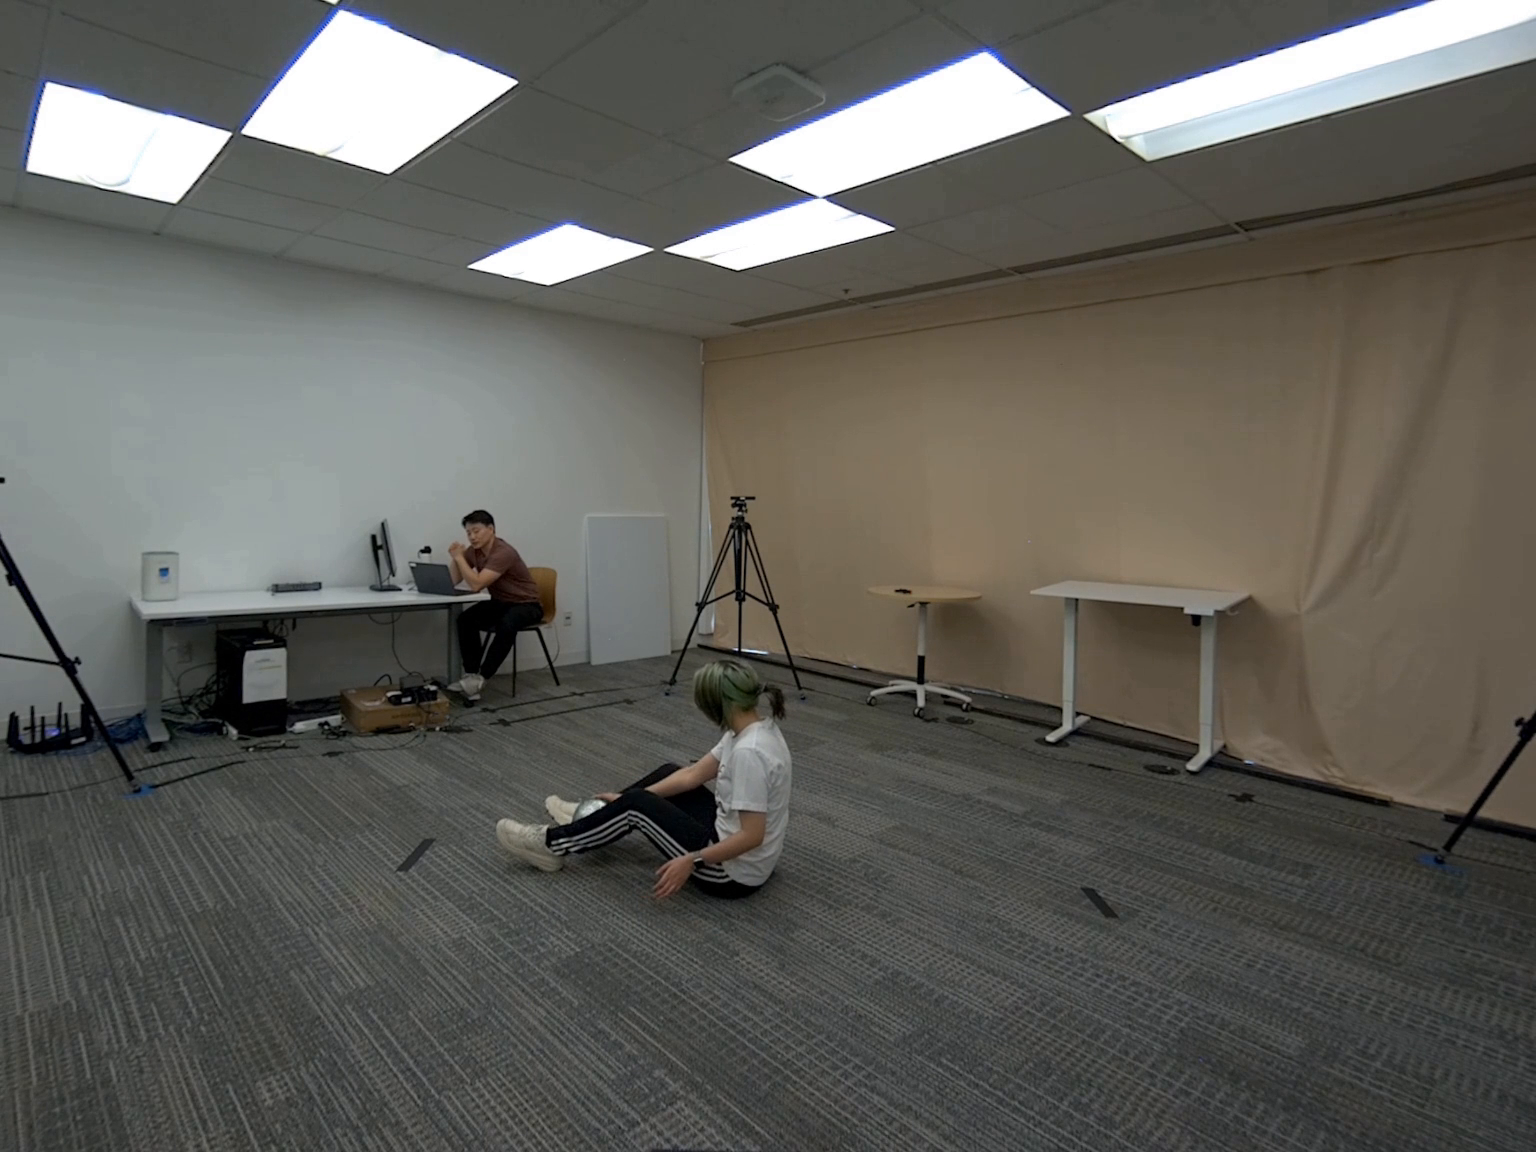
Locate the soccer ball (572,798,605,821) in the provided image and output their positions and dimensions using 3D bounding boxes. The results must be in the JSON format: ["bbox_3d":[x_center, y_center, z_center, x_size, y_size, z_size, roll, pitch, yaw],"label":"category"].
[{"bbox_3d":[-0.657,0.937,3.216,0.187,0.187,0.188,1,4,-1],"label":"soccer ball"}]
